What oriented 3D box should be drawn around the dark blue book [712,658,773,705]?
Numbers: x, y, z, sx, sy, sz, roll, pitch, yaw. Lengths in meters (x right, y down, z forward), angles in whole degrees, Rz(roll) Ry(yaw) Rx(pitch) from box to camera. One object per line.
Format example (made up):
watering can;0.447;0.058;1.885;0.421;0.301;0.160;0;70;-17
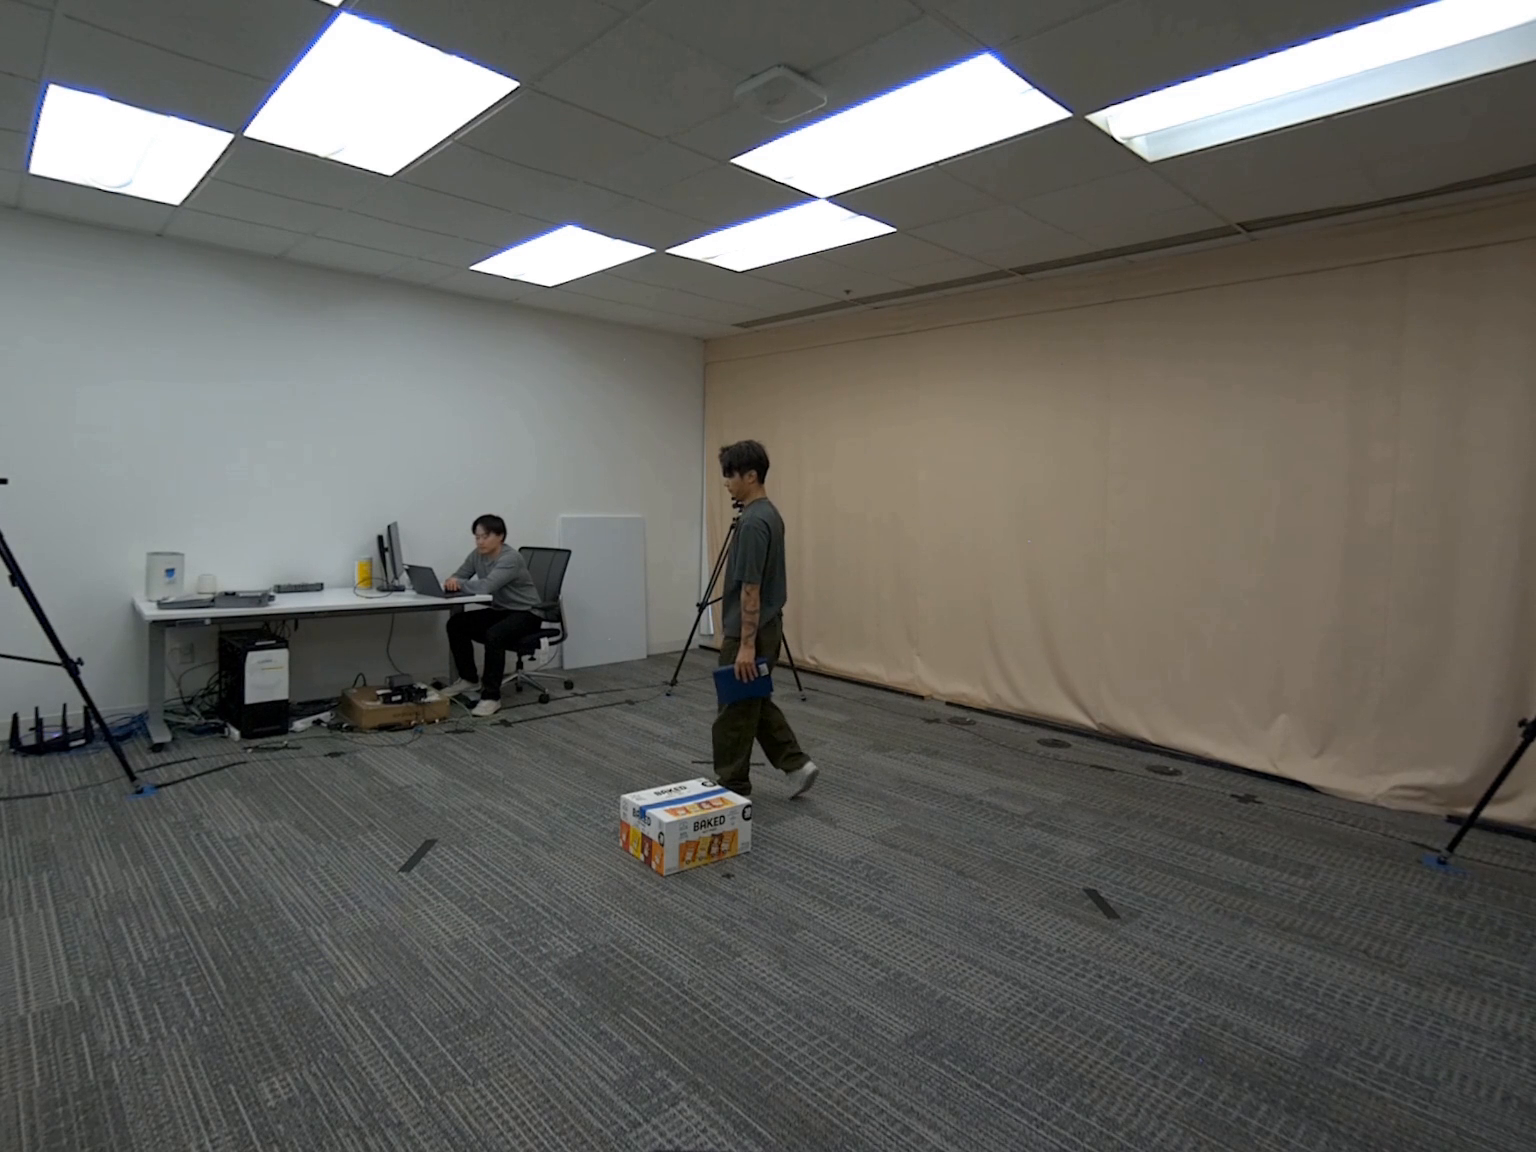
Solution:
dark blue book;-0.123;0.455;3.651;0.244;0.161;0.046;-10;15;-6
